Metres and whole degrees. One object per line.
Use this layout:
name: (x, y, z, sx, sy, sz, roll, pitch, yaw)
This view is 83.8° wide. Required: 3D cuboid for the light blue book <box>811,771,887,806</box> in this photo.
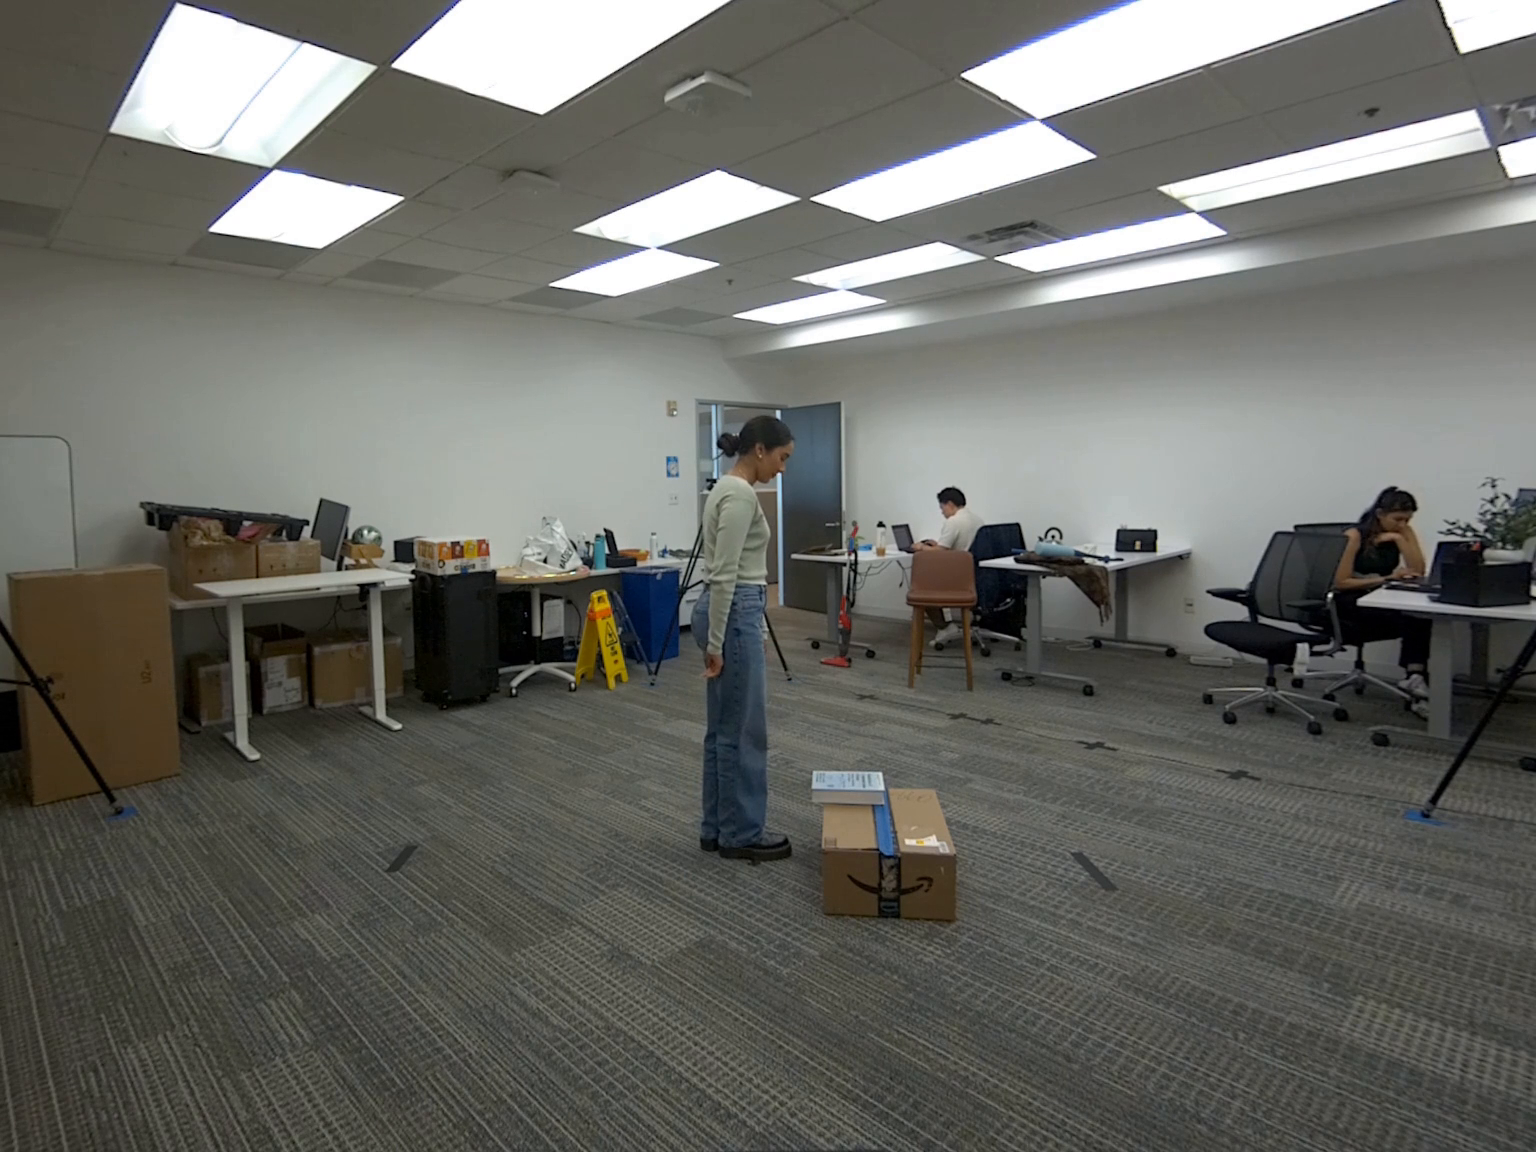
light blue book: (0.294, 0.778, 3.172, 0.263, 0.059, 0.191, -1, 7, 6)
